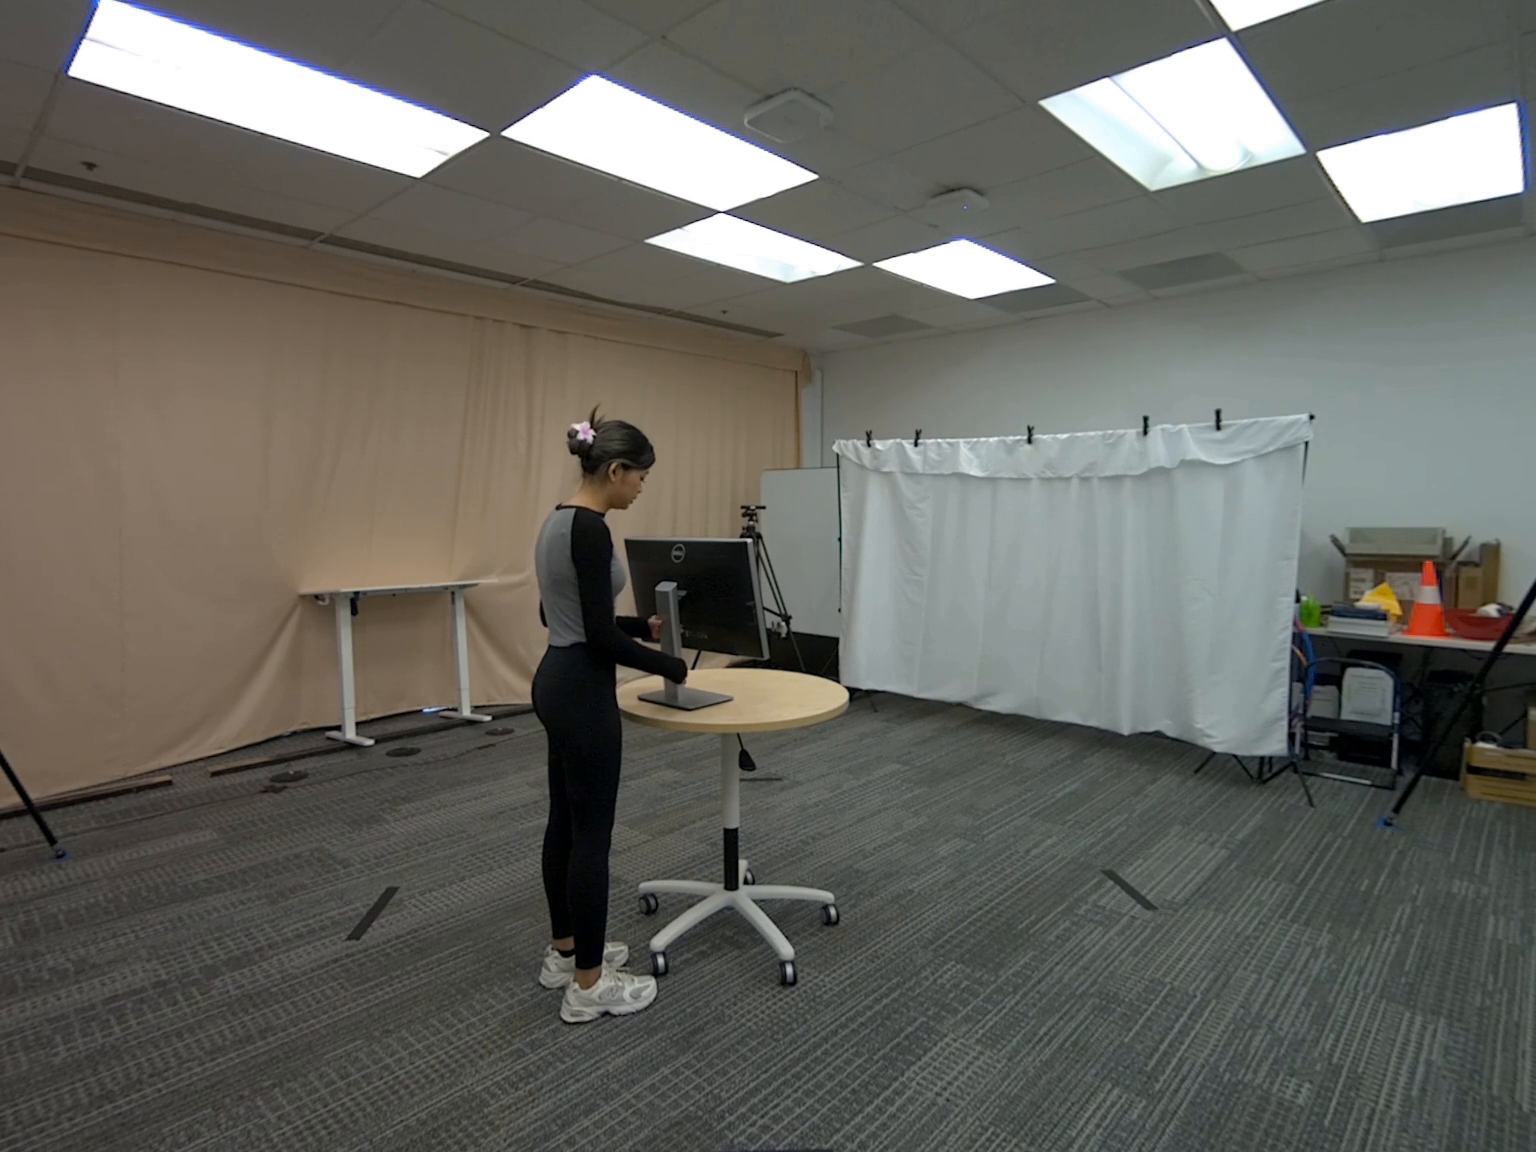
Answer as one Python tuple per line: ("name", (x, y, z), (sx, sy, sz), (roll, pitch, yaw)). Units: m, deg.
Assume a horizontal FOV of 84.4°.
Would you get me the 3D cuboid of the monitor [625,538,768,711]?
("monitor", (-0.258, 0.143, 2.617), (0.557, 0.522, 0.181), (3, 1, 41))
